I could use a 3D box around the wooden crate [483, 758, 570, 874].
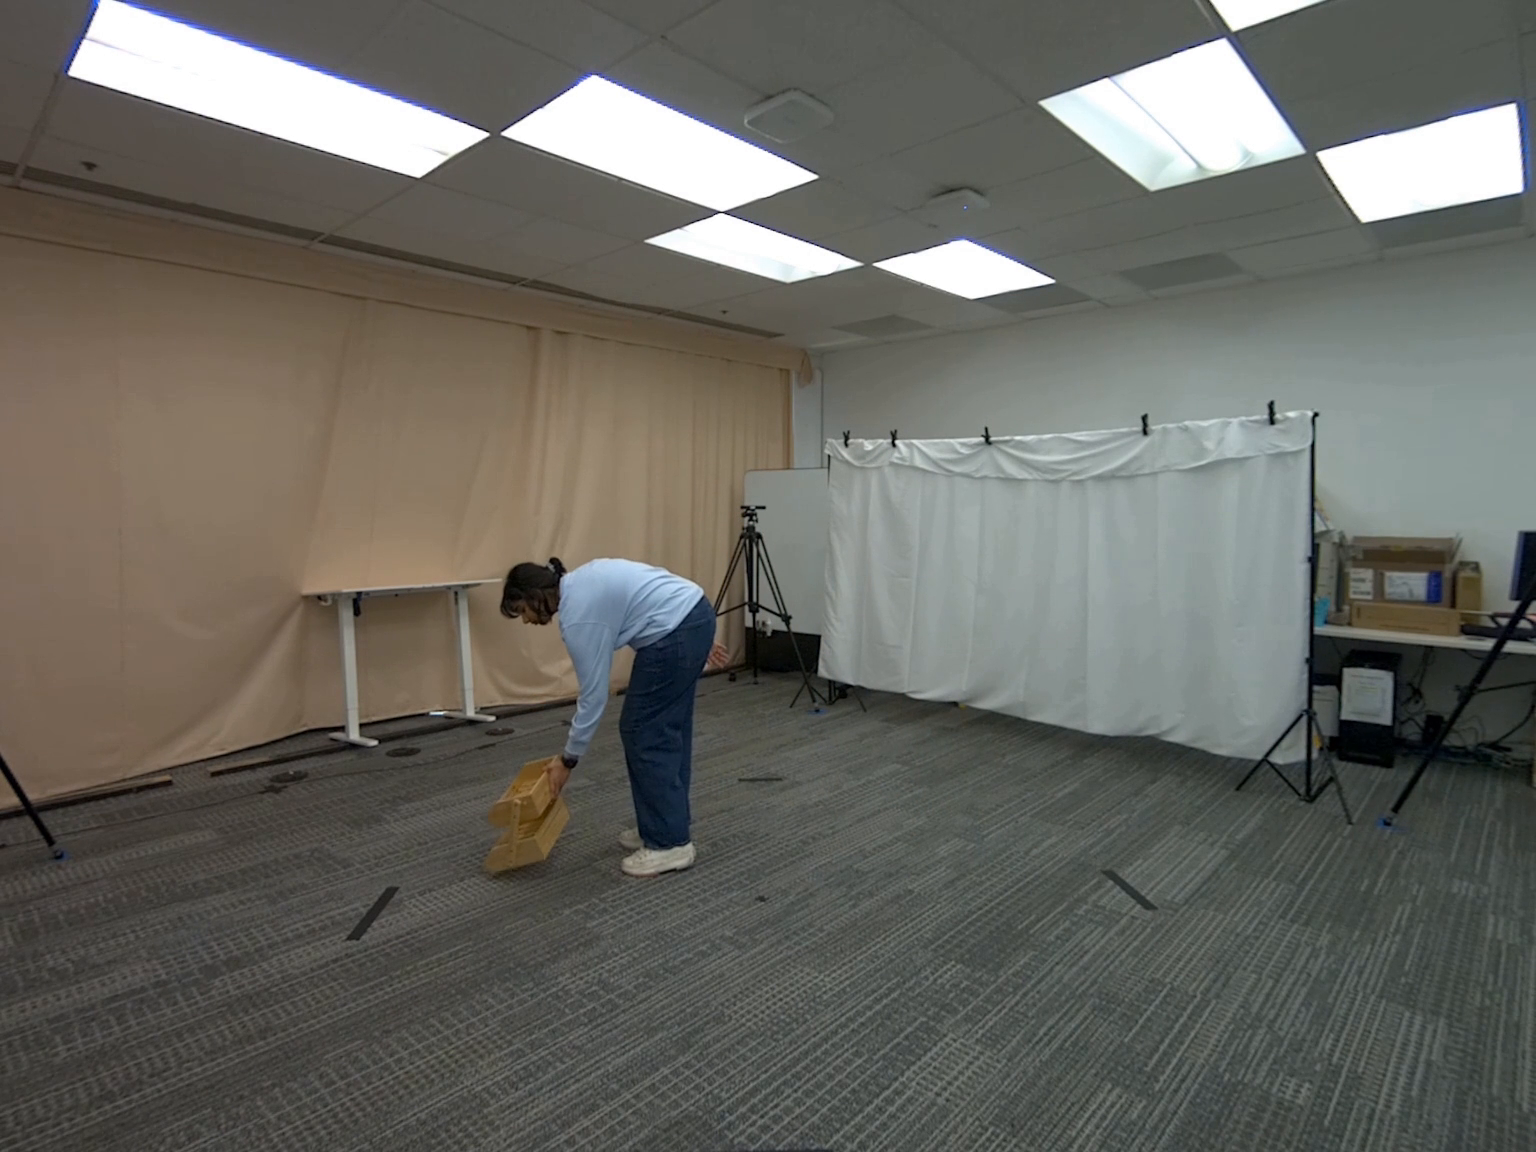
[{"bbox_3d":[-0.954,0.905,3.220,0.305,0.271,0.324,-12,12,9],"label":"wooden crate"}]
